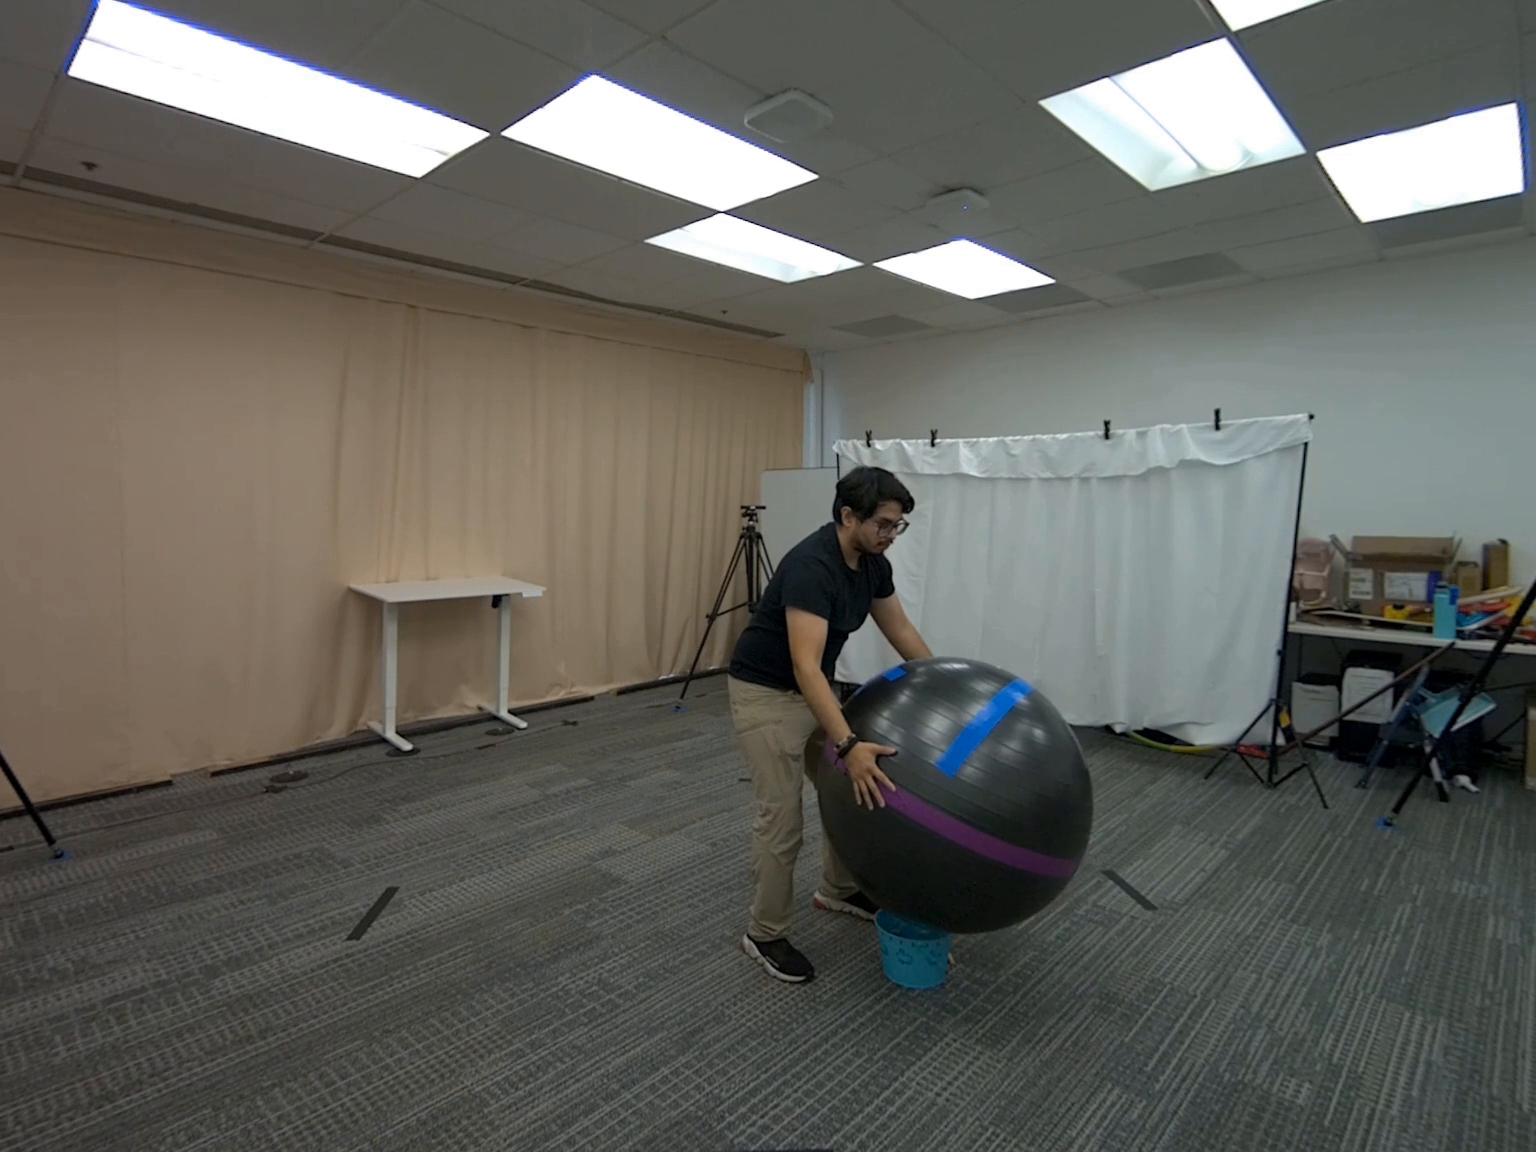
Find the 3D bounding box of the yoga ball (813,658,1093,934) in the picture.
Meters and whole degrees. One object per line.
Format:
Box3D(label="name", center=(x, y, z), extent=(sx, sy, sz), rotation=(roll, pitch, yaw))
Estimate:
Box3D(label="yoga ball", center=(0.536, 0.622, 2.425), extent=(0.757, 0.756, 0.761), rotation=(0, 4, -2))
